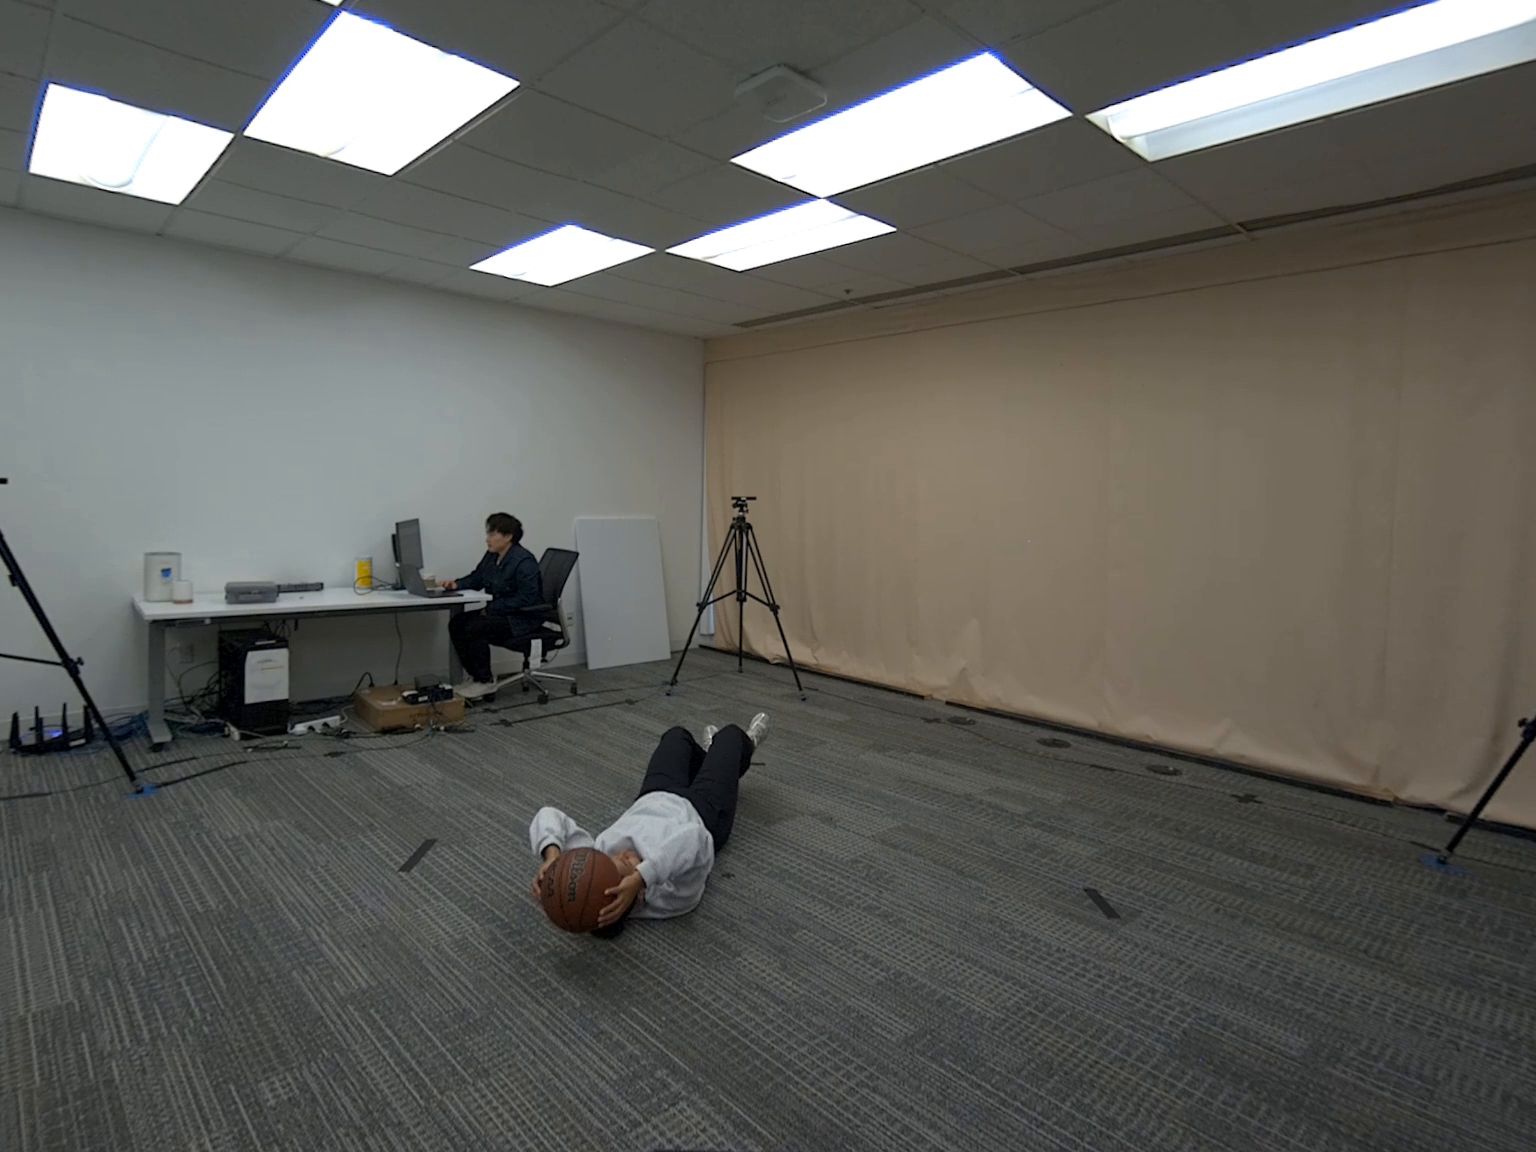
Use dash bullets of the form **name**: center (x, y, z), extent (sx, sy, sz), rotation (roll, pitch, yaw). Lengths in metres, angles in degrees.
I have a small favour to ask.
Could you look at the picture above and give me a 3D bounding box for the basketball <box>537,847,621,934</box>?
- **basketball**: center (-0.565, 0.933, 2.512), extent (0.235, 0.235, 0.237), rotation (4, 7, -2)
